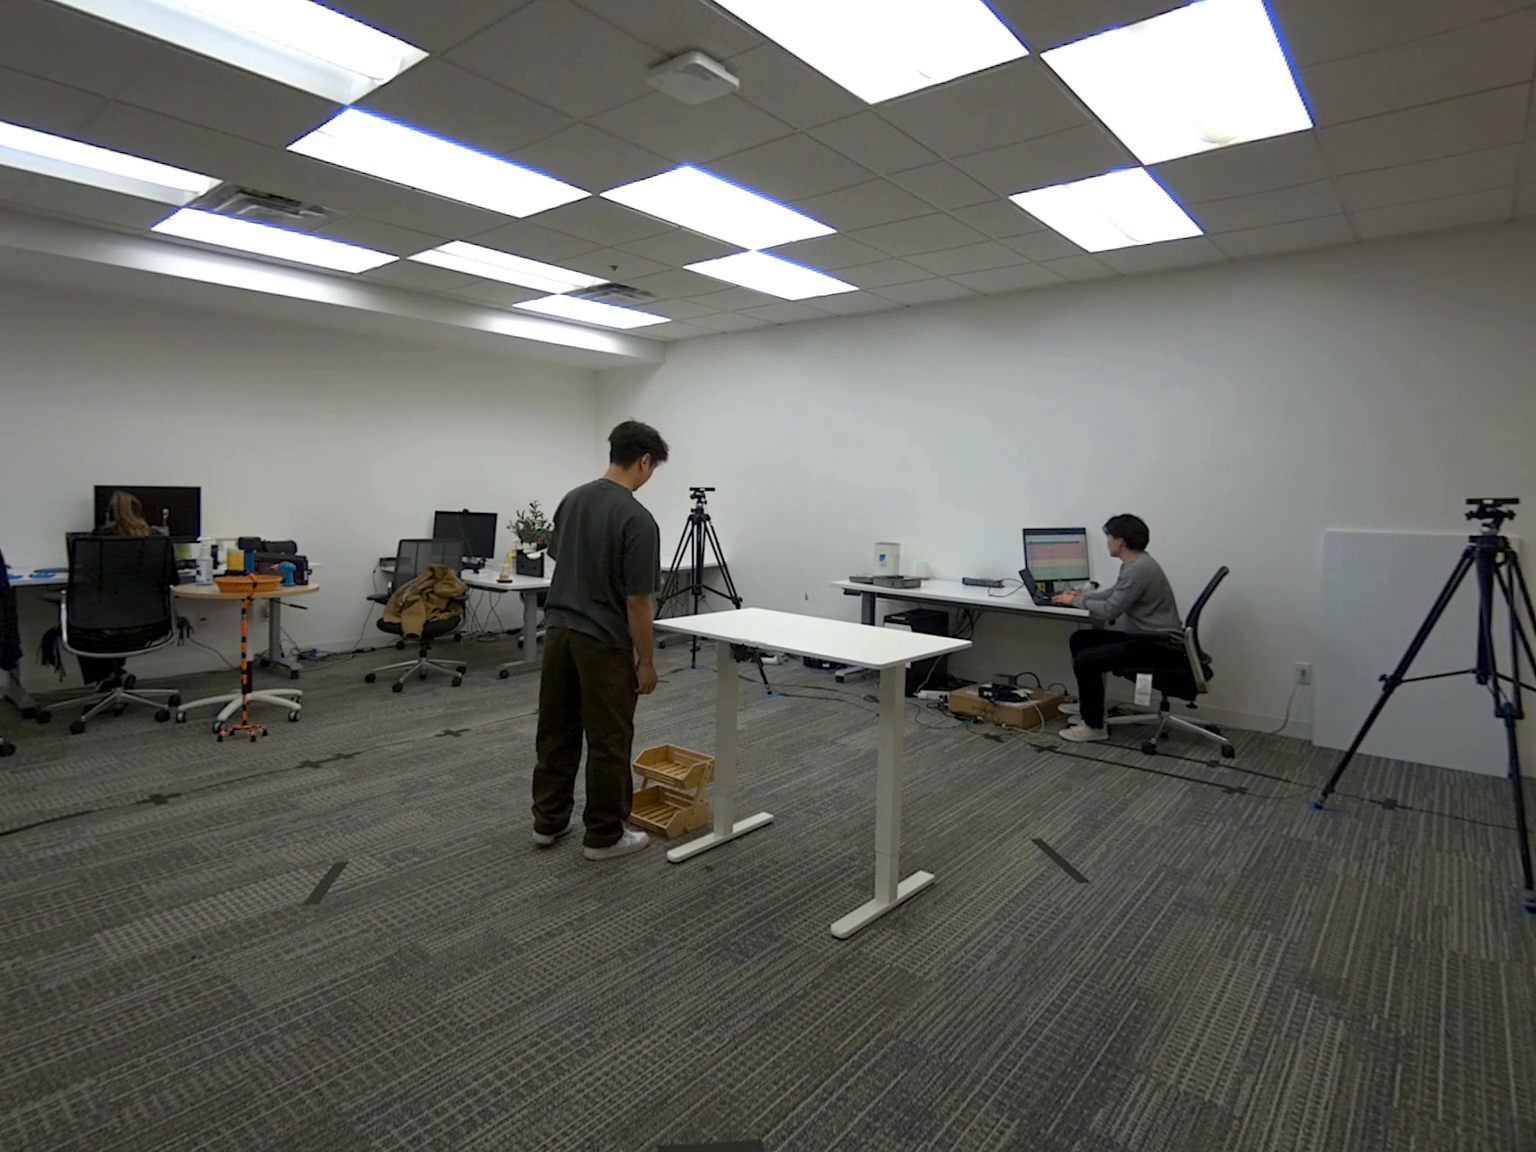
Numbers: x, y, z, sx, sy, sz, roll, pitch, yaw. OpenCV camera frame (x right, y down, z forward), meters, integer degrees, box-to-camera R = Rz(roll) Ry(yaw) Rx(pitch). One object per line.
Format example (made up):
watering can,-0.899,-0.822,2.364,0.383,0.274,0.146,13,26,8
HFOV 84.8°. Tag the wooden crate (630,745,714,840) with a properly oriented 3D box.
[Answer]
wooden crate,-0.437,0.882,3.557,0.335,0.272,0.293,4,5,40
